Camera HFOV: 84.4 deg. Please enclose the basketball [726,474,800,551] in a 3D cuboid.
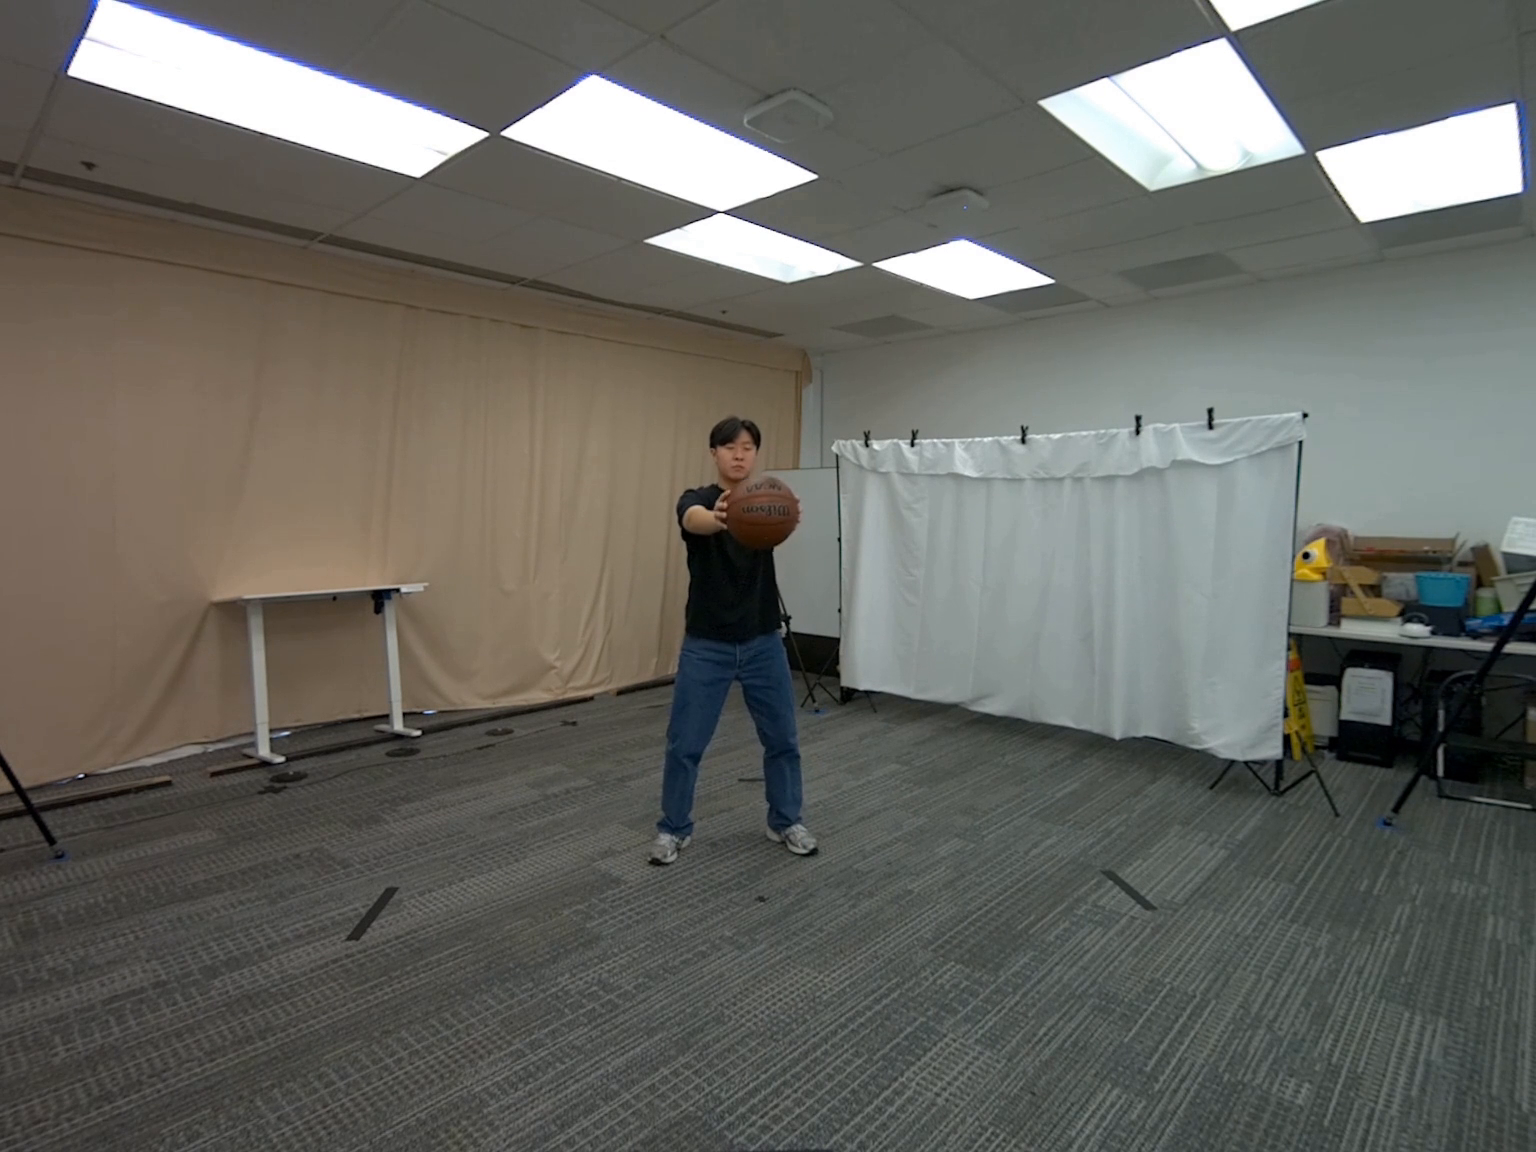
[{"bbox_3d":[-0.022,-0.194,2.713,0.236,0.235,0.237,0,4,-2],"label":"basketball"}]
